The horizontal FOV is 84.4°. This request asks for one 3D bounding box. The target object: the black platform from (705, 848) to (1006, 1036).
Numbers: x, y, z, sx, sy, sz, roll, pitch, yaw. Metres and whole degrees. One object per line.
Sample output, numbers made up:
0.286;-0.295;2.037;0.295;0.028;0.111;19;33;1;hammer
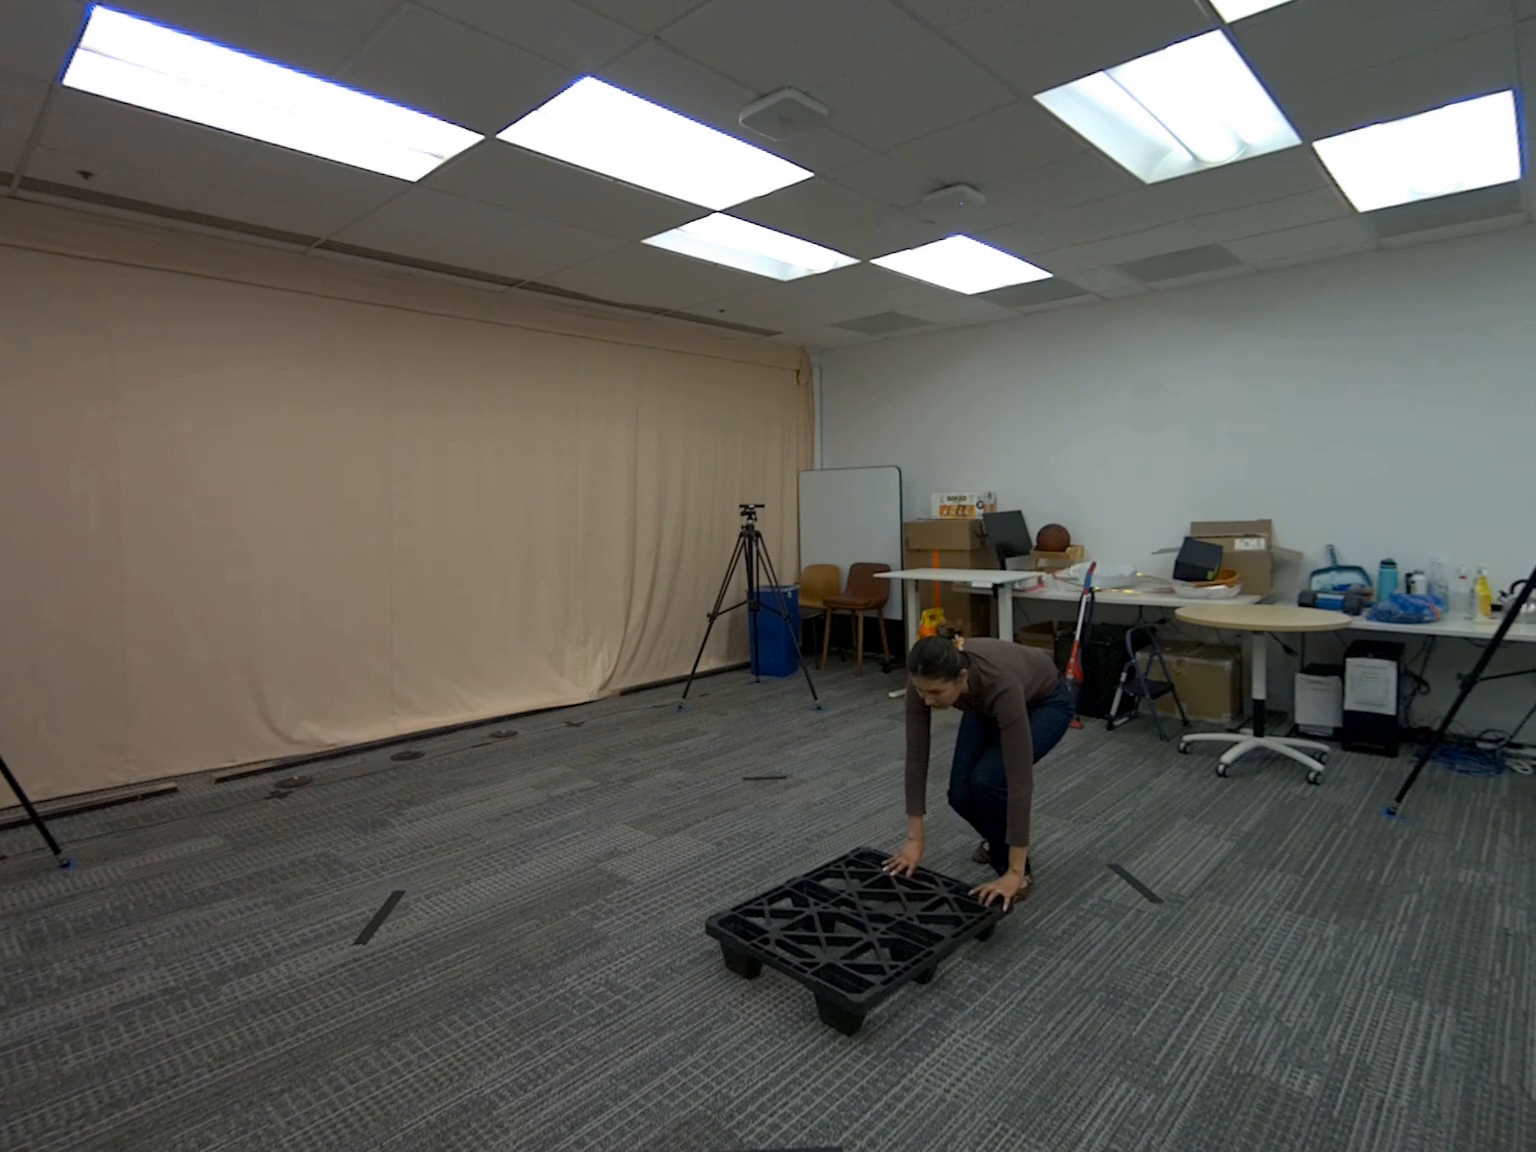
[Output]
0.303;1.098;2.611;0.625;0.143;0.781;5;8;44;black platform
